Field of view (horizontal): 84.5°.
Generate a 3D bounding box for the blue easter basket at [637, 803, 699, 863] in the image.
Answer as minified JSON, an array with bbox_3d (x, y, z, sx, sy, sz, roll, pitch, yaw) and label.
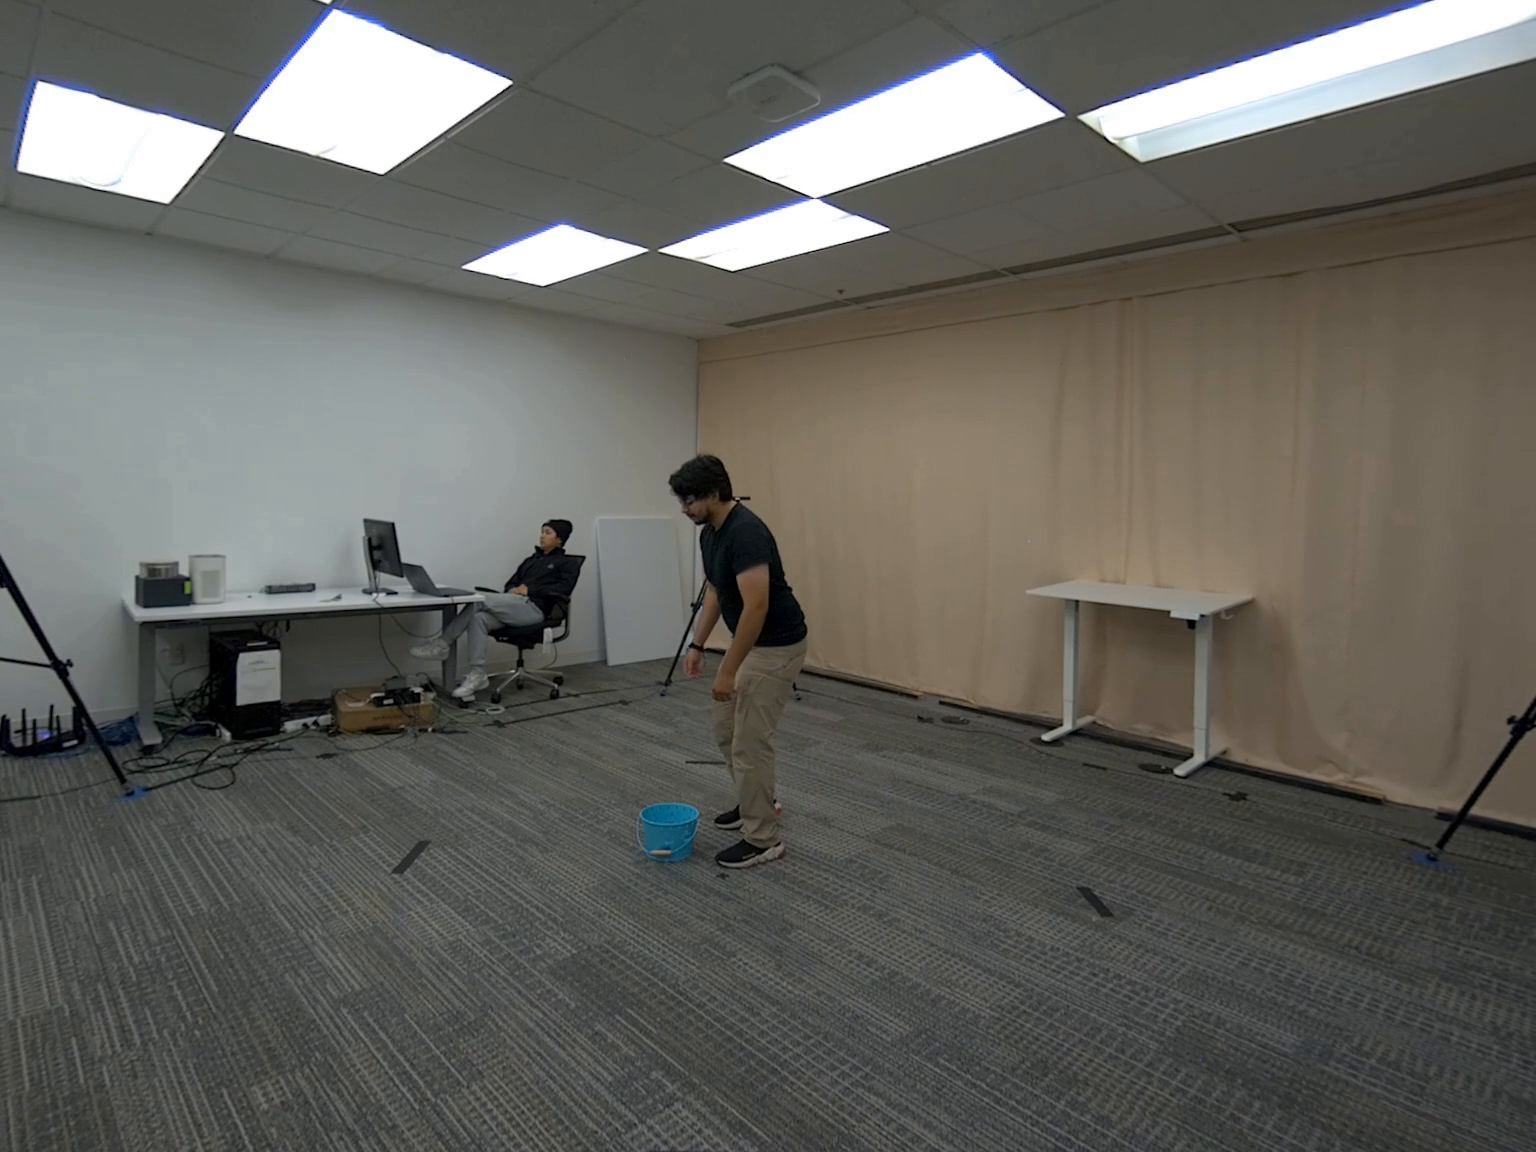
[{"bbox_3d":[-0.389,1.001,3.298,0.243,0.155,0.244,1,5,-1],"label":"blue easter basket"}]
